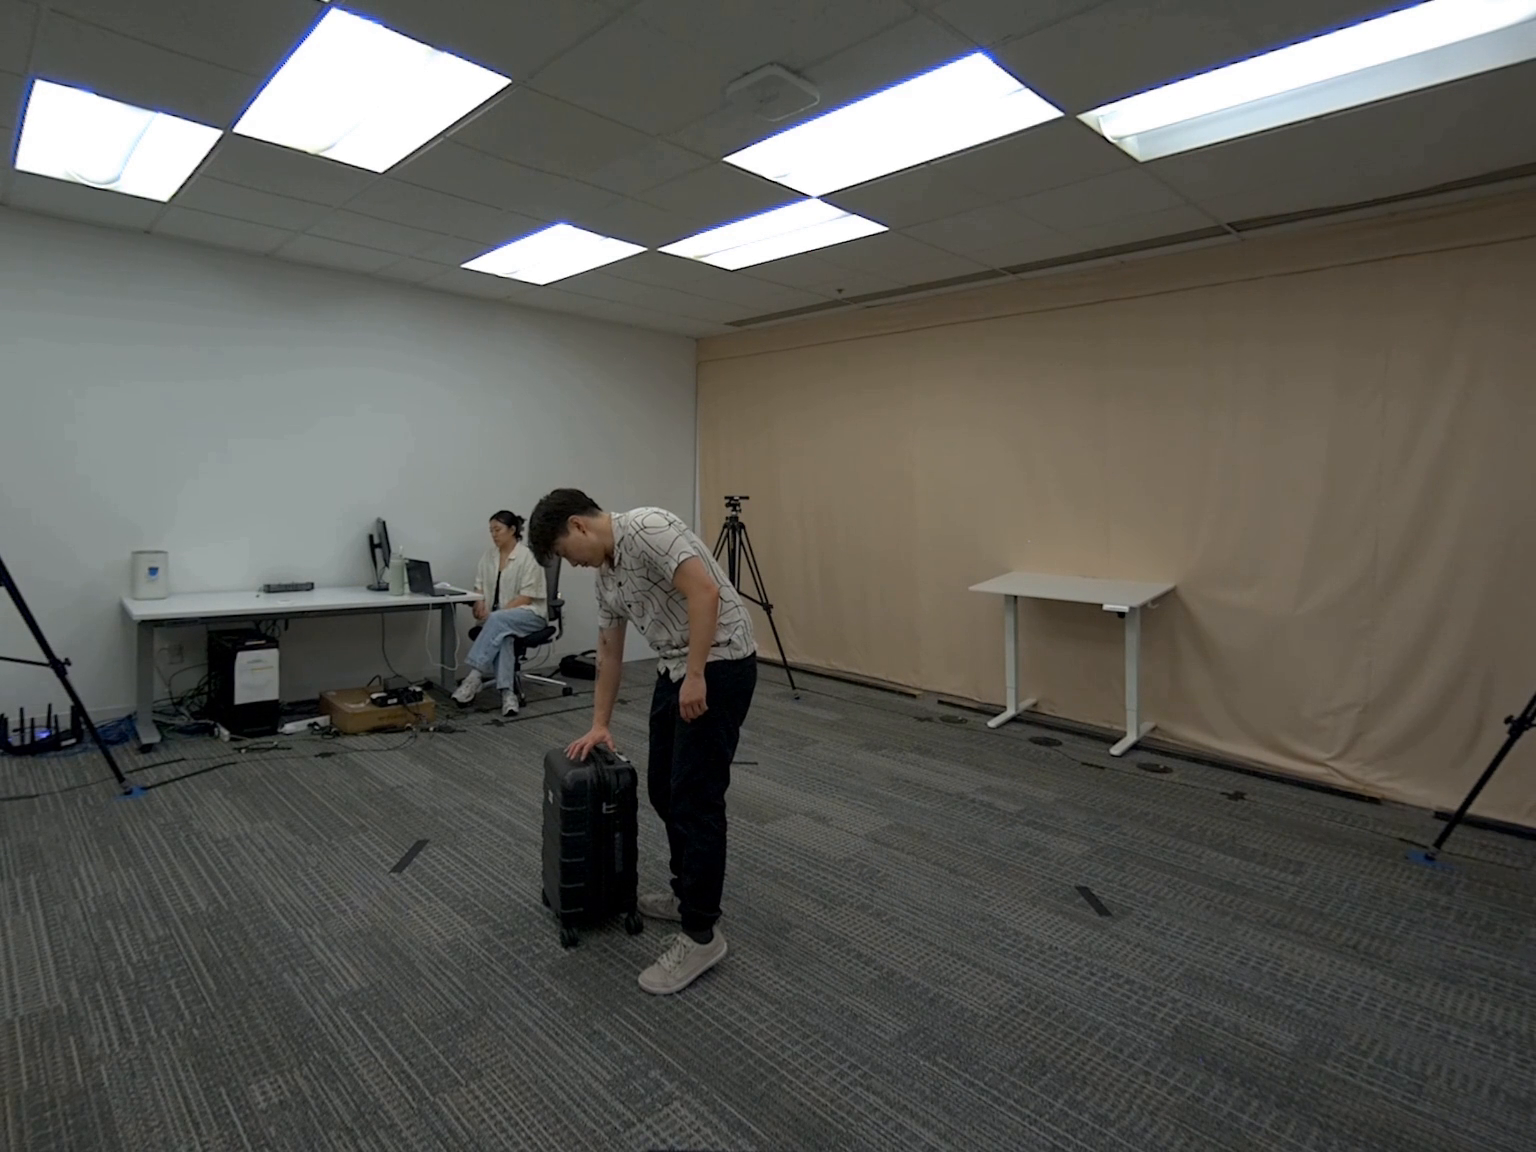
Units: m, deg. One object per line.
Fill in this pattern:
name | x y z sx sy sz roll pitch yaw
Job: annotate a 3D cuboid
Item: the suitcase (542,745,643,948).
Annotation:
suitcase | -0.598 0.848 2.766 0.244 0.548 0.383 -1 4 -24
